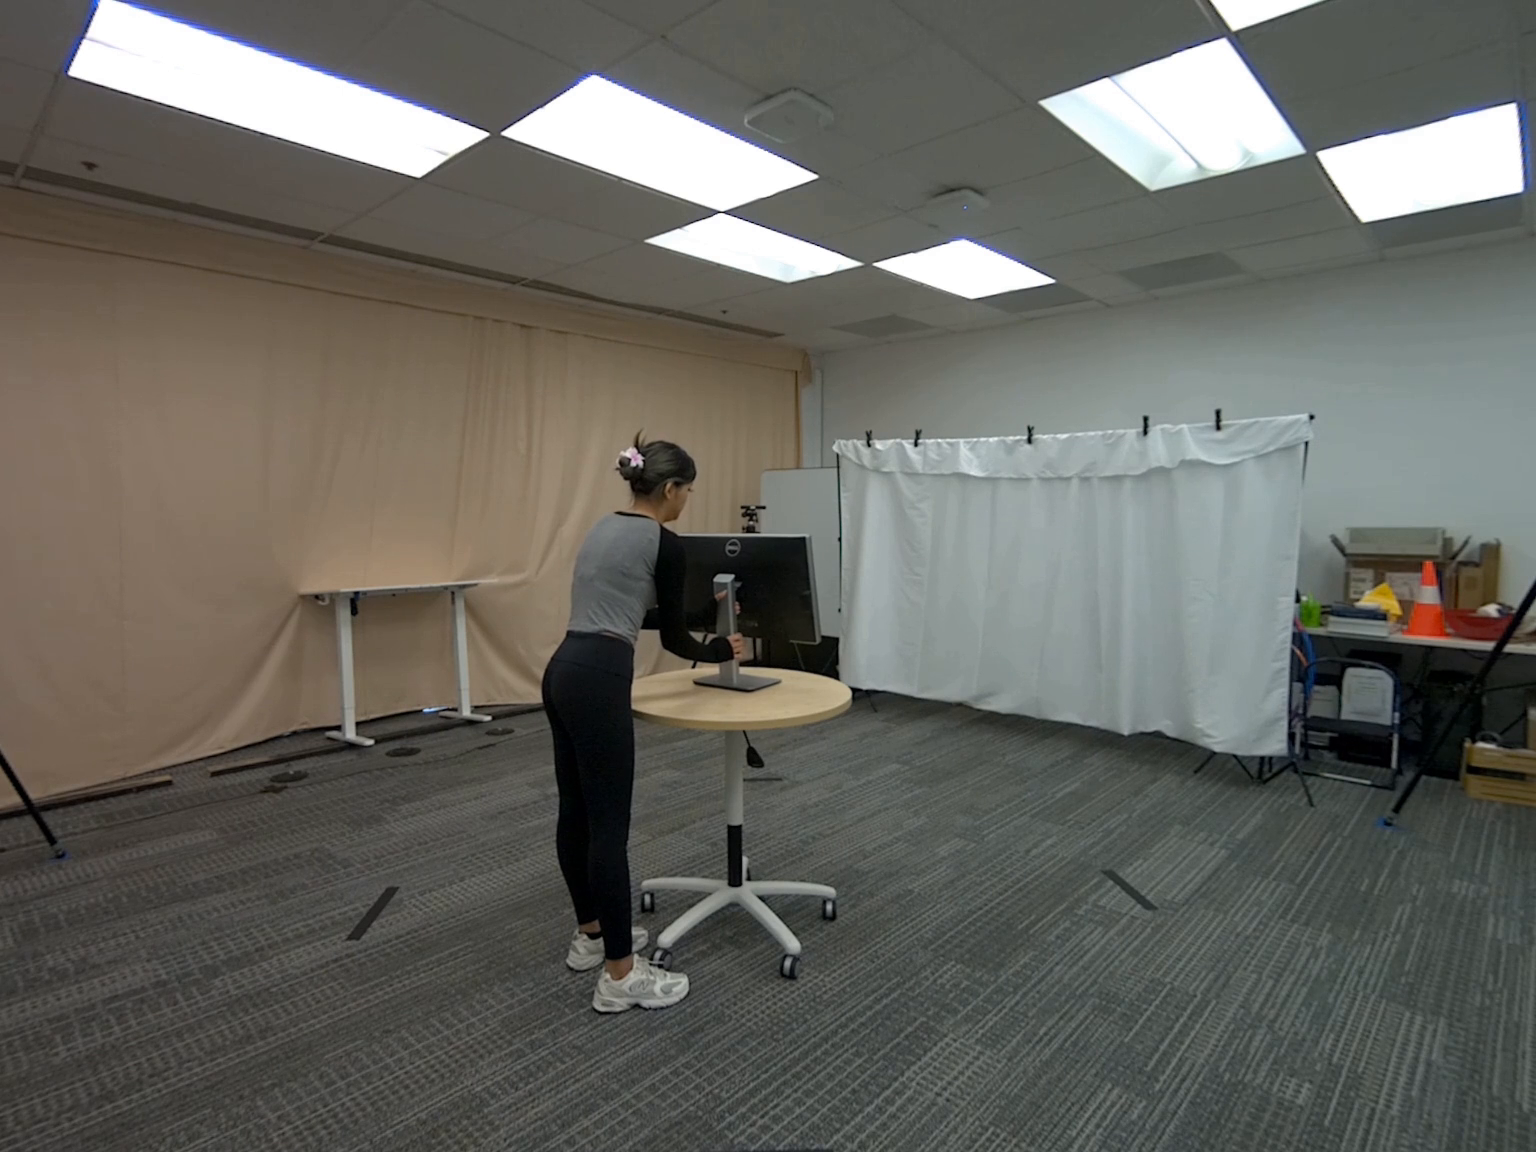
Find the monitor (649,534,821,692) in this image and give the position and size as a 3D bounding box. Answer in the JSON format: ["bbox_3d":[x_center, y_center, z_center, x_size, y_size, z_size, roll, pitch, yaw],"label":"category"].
[{"bbox_3d":[-0.098,0.117,2.849,0.546,0.517,0.169,0,-5,35],"label":"monitor"}]
